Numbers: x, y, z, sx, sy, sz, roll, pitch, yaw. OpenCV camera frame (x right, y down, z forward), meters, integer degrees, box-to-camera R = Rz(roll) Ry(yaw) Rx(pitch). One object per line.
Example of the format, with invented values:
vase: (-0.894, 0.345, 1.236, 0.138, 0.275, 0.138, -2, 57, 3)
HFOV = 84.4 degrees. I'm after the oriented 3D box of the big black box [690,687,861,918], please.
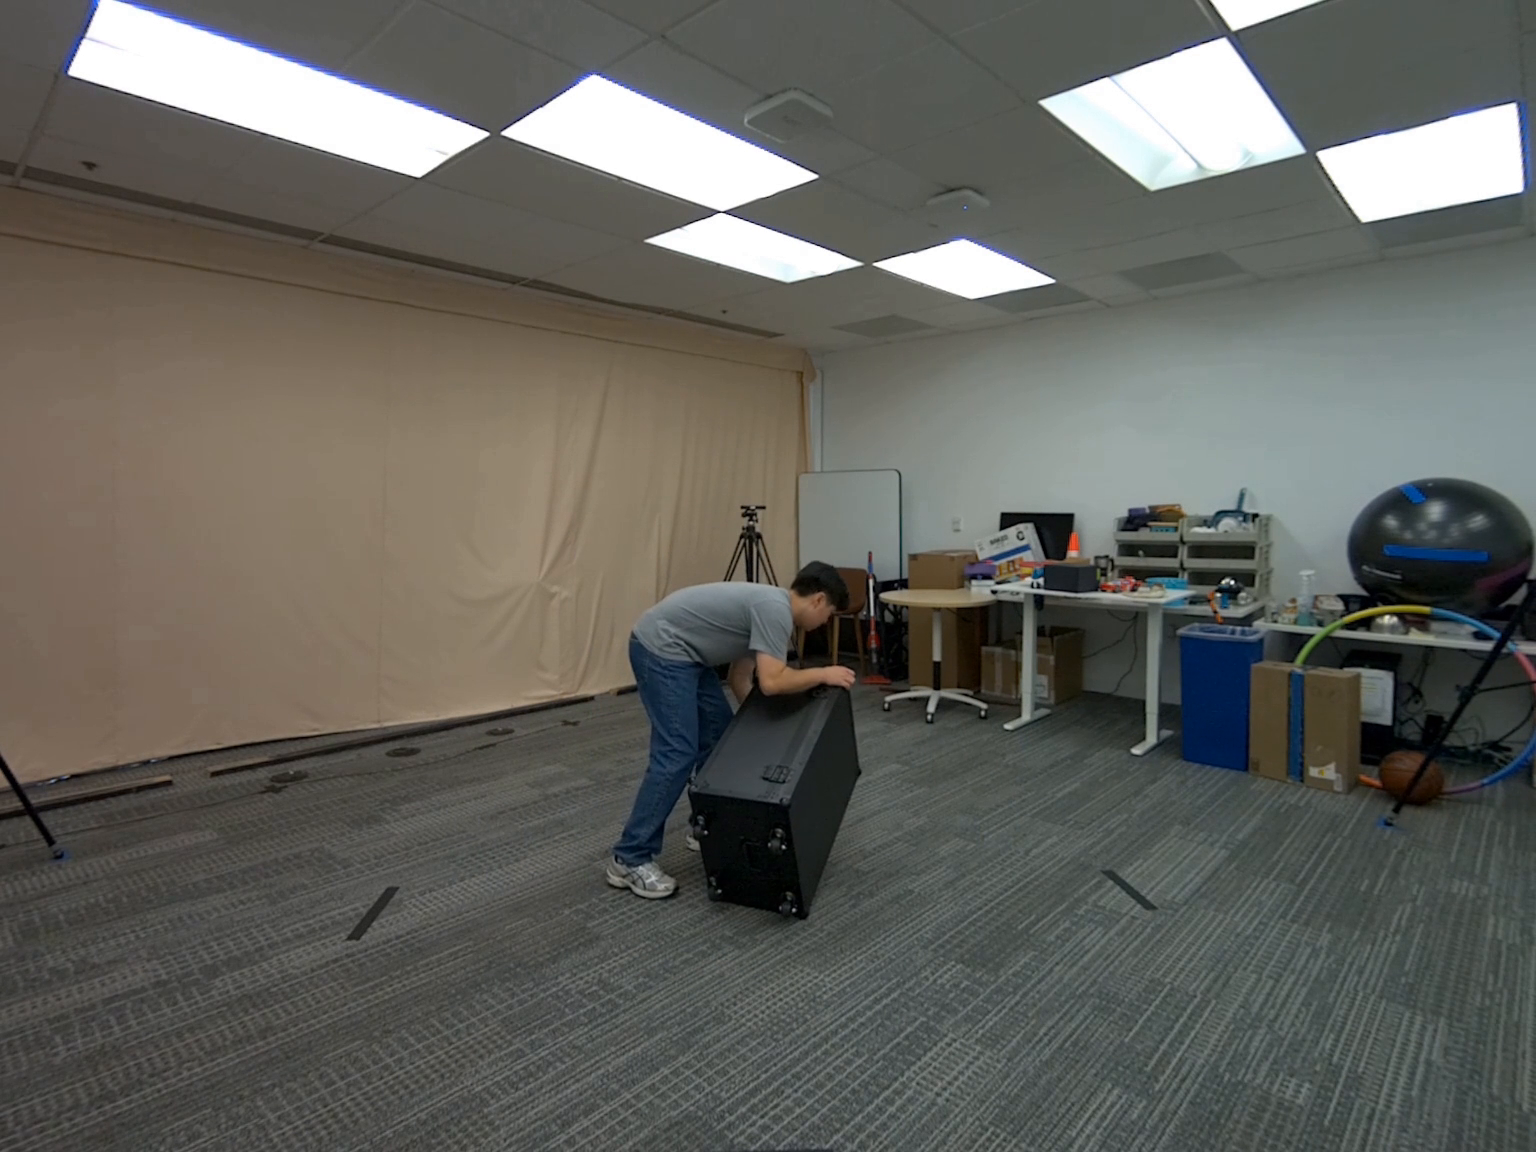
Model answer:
big black box: (0.046, 0.776, 3.110, 0.406, 0.512, 0.856, 0, 25, 22)
